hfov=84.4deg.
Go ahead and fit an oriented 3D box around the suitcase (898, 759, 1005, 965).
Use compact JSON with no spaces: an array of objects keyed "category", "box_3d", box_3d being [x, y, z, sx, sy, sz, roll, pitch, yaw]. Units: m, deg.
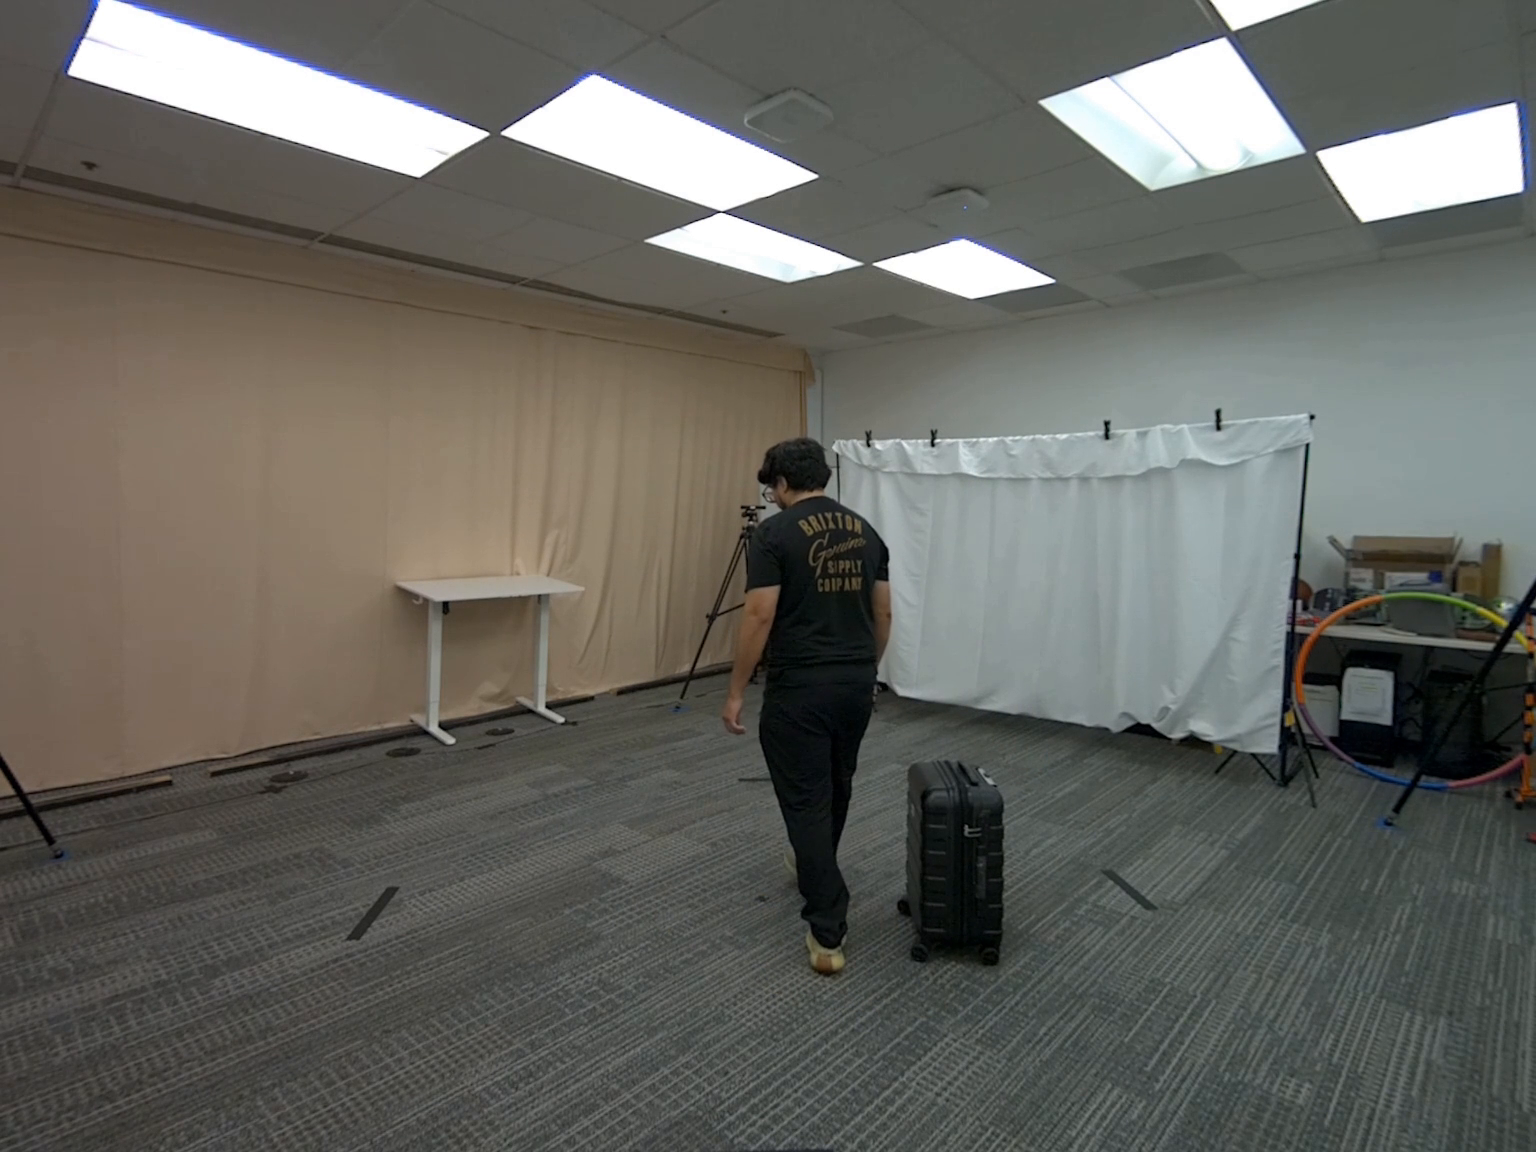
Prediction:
[{"category":"suitcase","box_3d":[0.593,0.891,2.687,0.249,0.548,0.375,1,4,1]}]
